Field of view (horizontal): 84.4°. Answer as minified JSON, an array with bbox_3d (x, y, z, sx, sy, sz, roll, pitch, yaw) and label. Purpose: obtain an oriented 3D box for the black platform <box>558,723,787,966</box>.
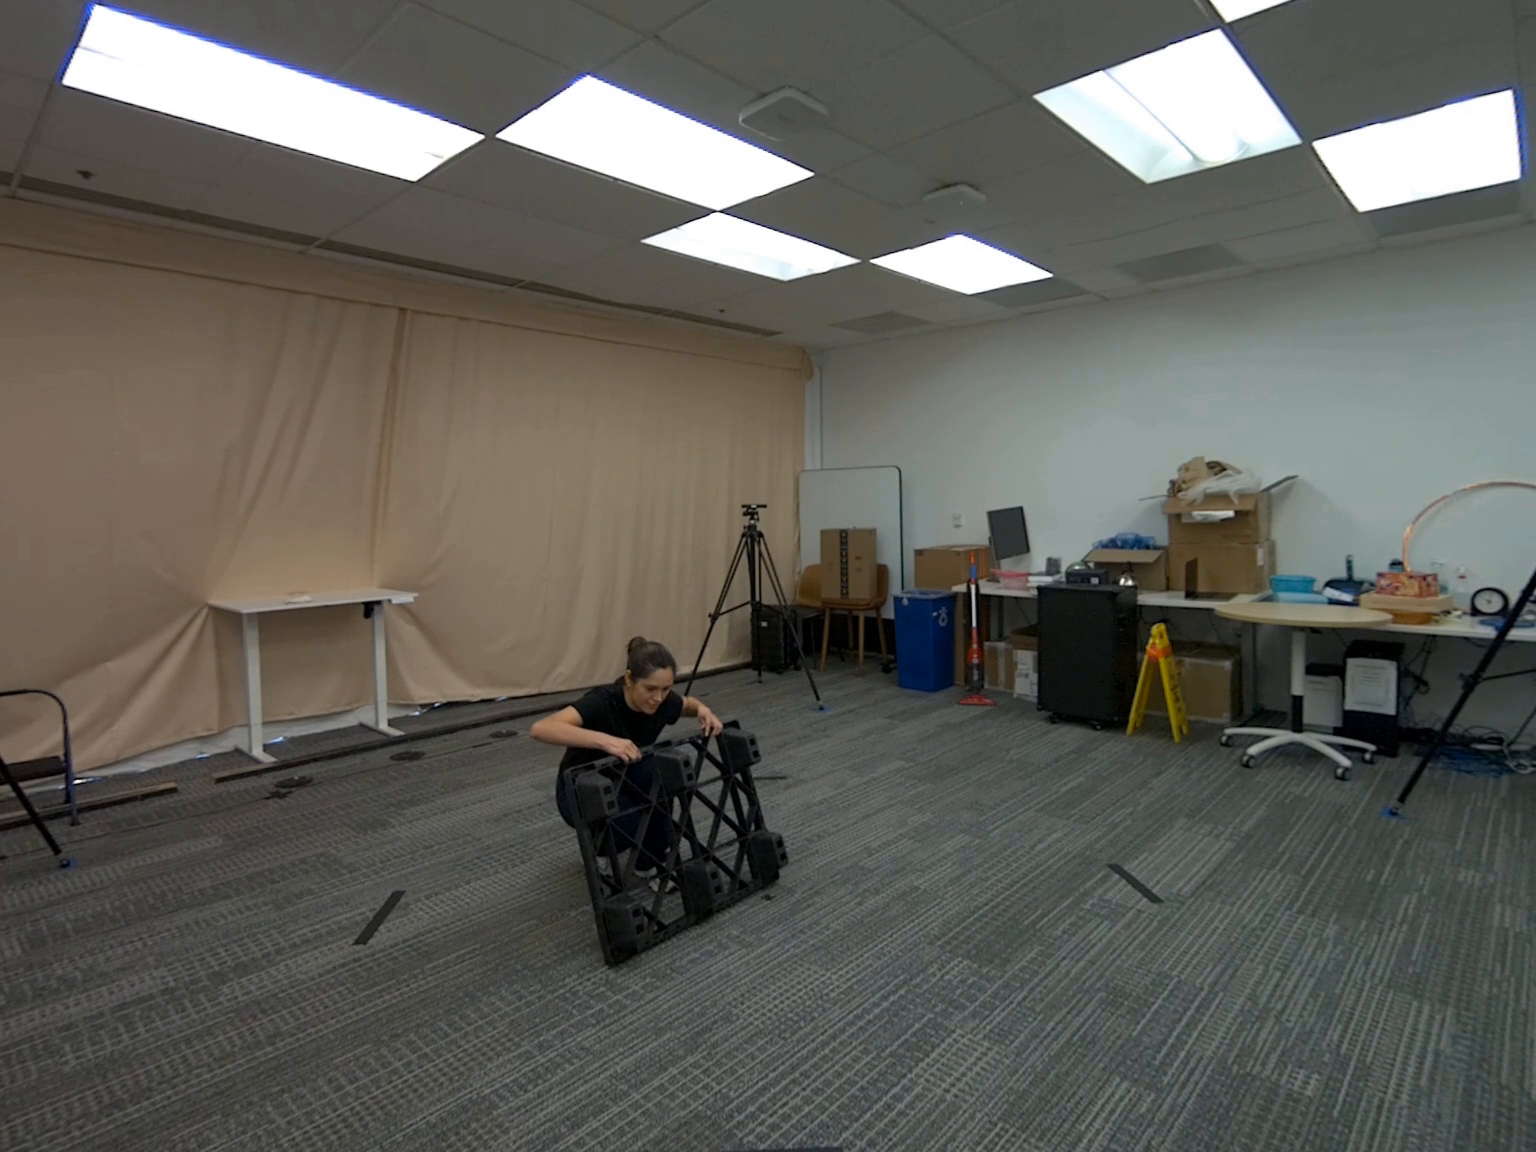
[{"bbox_3d":[-0.249,0.852,2.843,0.146,0.610,0.781,-25,-12,40],"label":"black platform"}]
